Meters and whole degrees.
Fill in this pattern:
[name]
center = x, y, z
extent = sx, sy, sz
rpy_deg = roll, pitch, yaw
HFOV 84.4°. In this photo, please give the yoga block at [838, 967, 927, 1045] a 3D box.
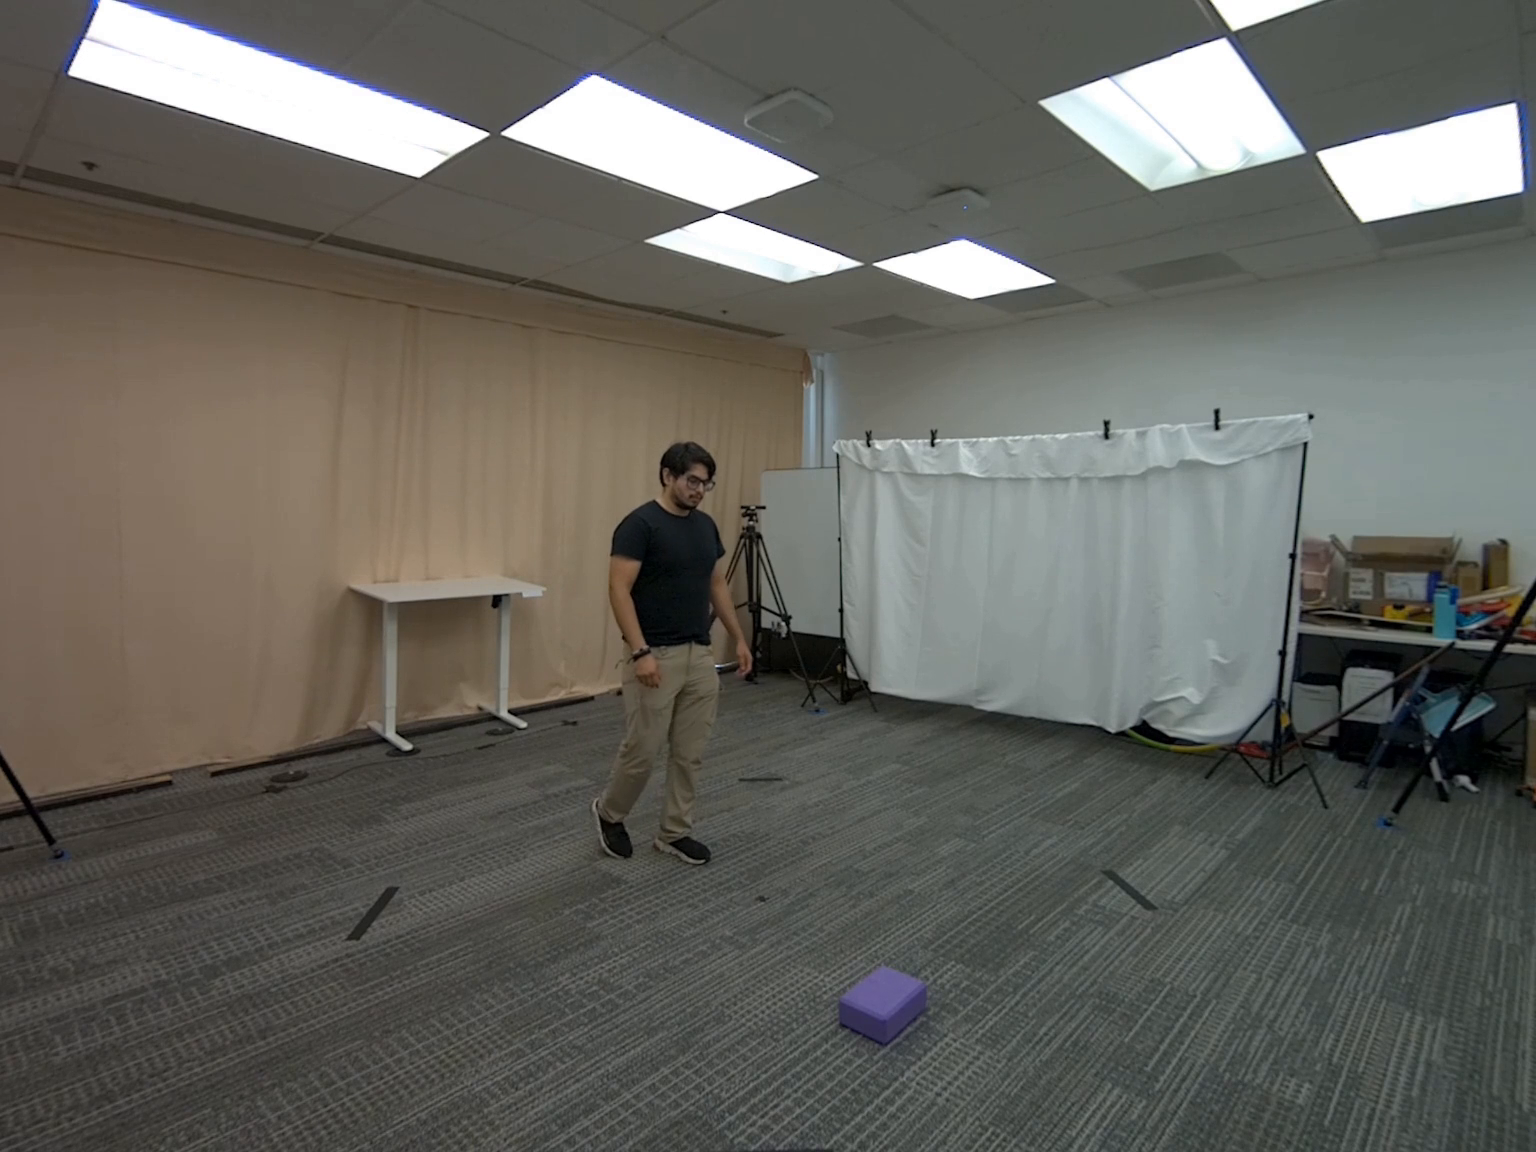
[yoga block]
center = 0.320, 1.163, 2.290
extent = 0.154, 0.076, 0.222
rpy_deg = 5, 7, 40
